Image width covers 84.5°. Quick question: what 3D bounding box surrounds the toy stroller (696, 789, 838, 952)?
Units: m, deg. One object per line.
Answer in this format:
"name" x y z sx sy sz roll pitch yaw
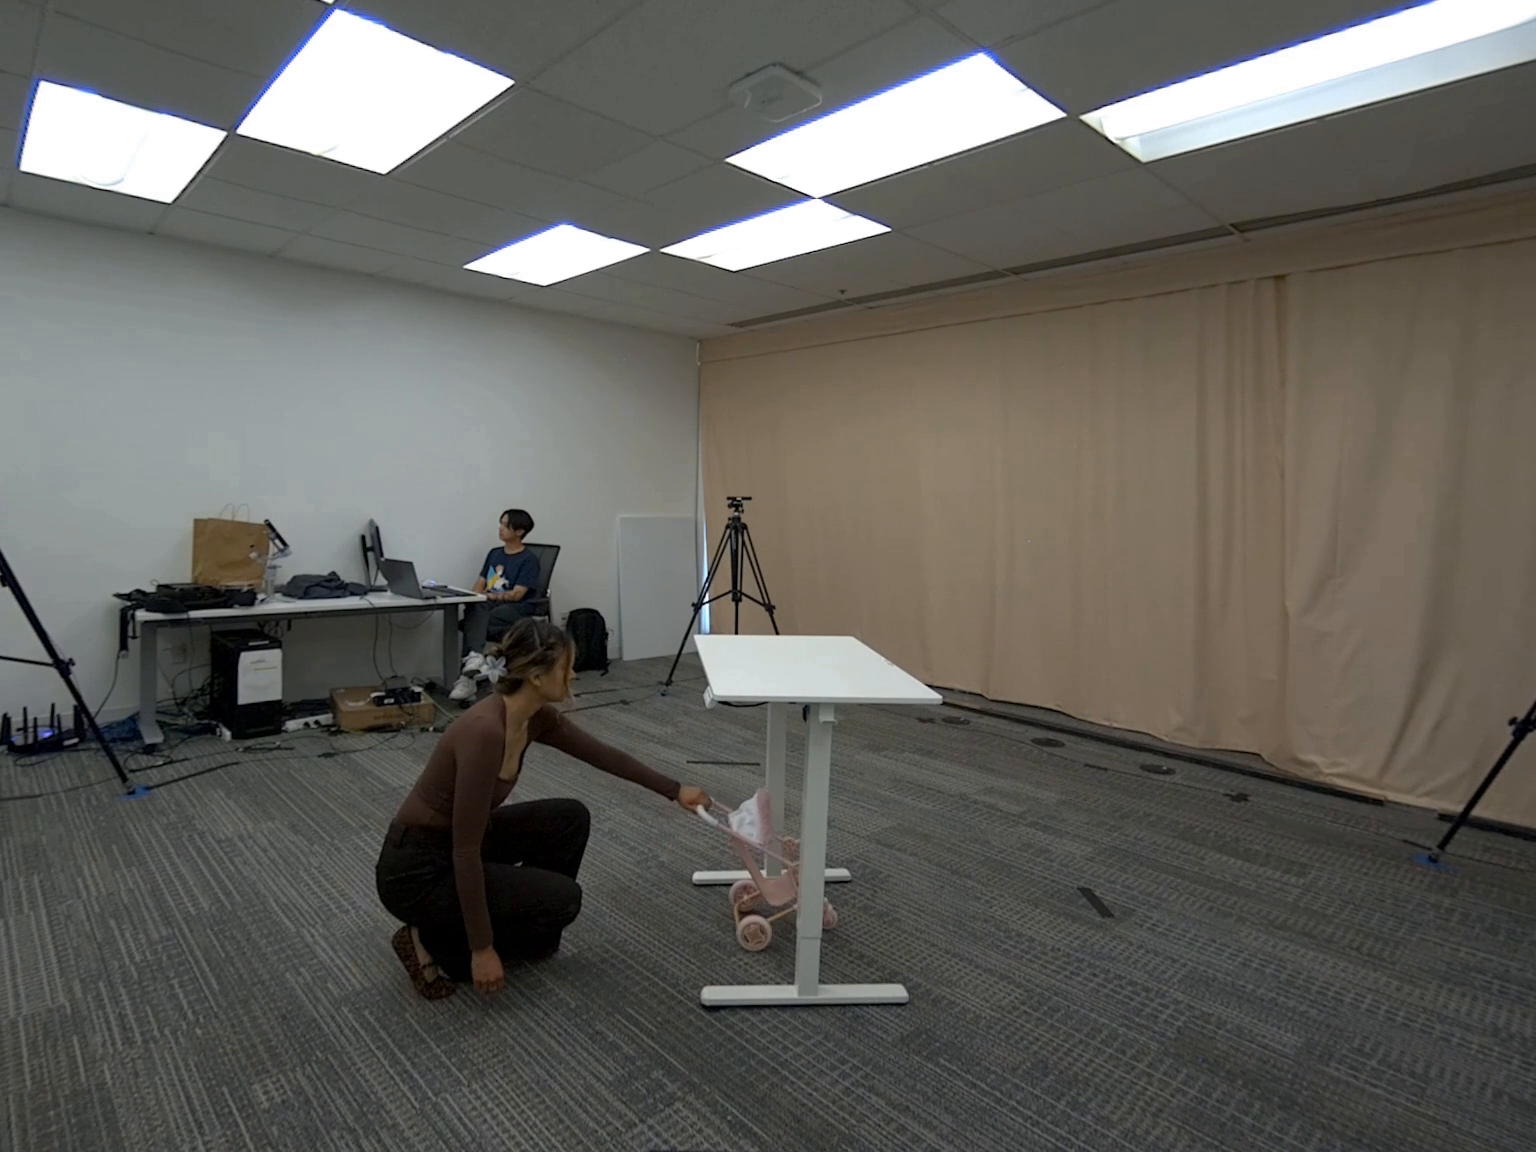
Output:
"toy stroller" 0.002 0.918 2.703 0.341 0.533 0.283 -16 4 -1
